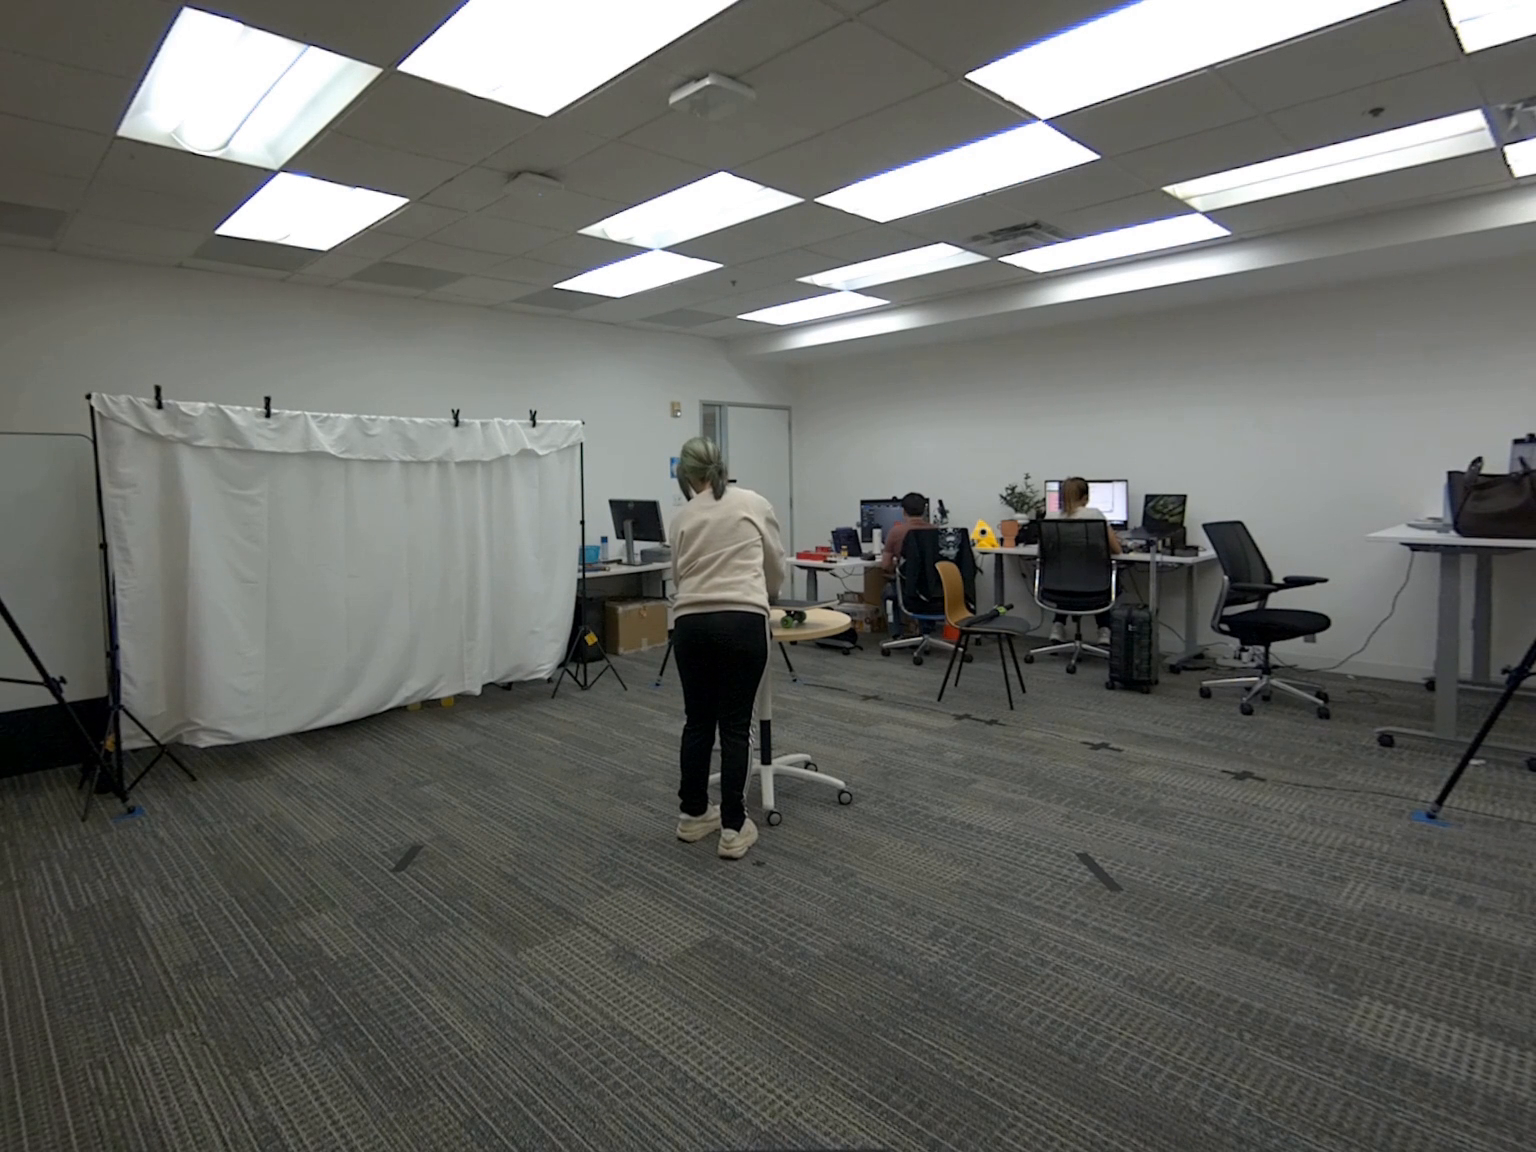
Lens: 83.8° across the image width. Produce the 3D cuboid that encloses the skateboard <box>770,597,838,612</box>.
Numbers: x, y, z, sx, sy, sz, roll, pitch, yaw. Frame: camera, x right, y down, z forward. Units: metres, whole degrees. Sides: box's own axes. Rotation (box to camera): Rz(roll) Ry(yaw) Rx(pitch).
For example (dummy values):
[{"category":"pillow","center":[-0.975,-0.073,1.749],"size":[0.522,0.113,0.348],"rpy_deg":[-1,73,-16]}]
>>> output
[{"category":"skateboard","center":[-0.060,0.150,3.680],"size":[0.805,0.110,0.189],"rpy_deg":[2,6,27]}]
